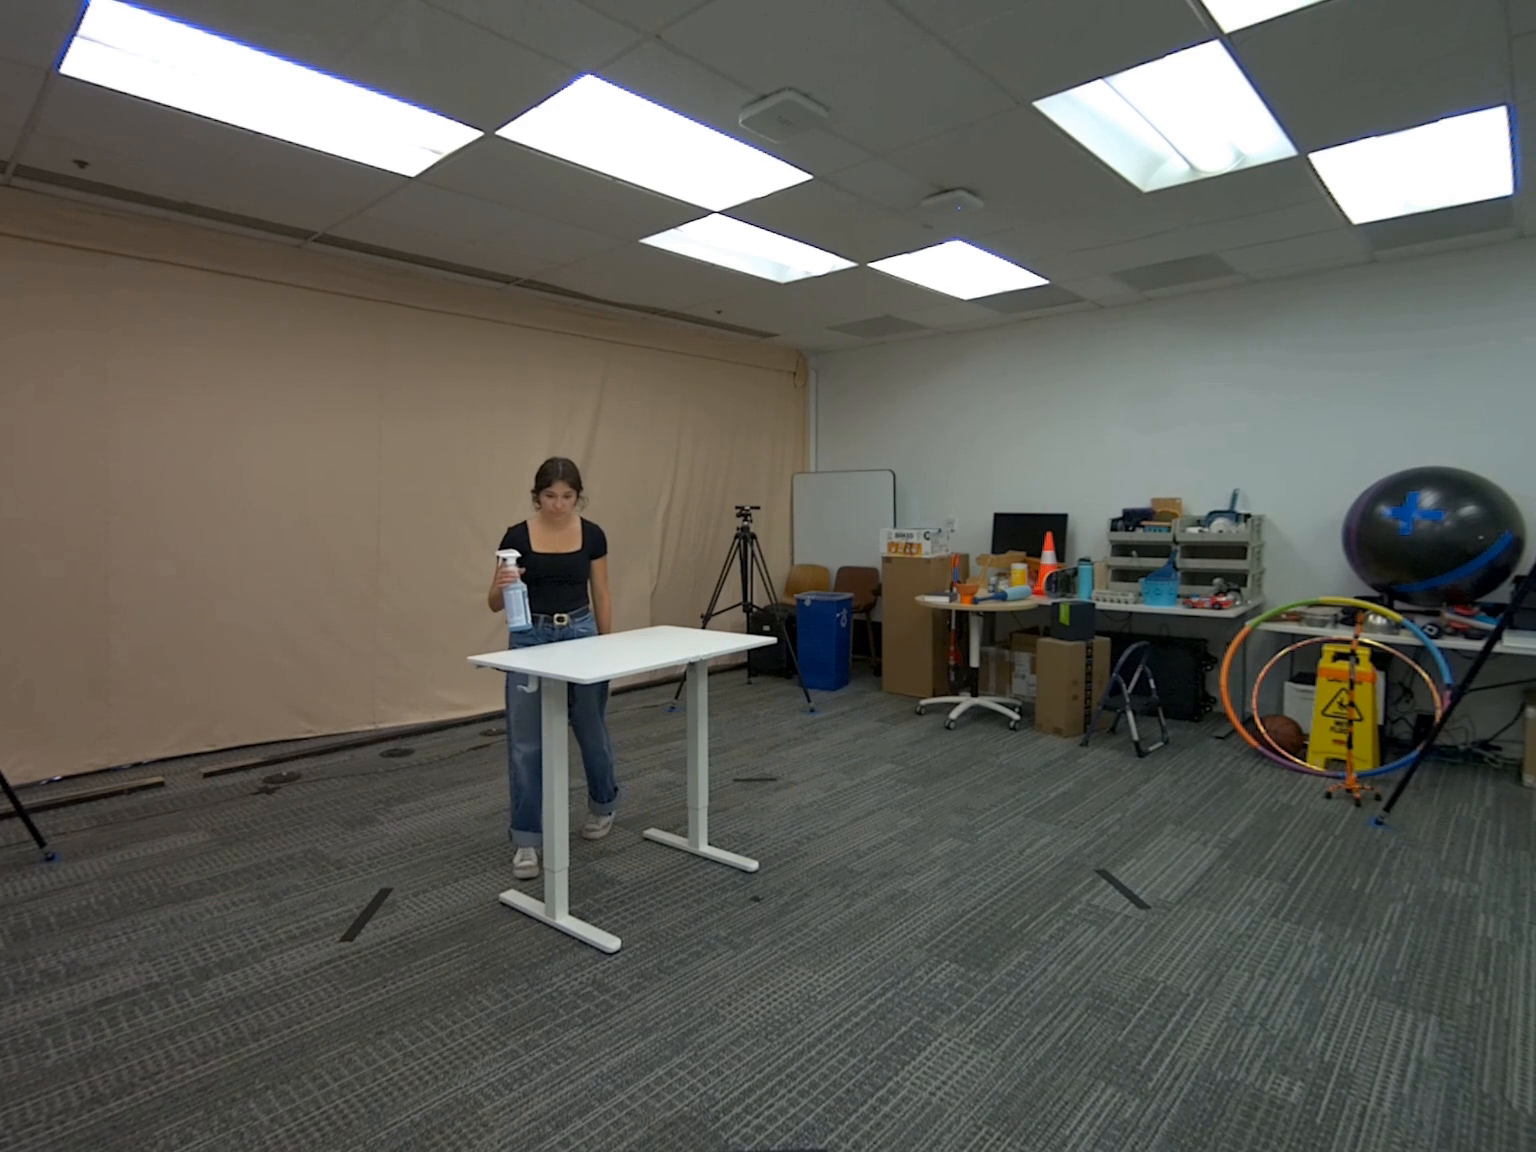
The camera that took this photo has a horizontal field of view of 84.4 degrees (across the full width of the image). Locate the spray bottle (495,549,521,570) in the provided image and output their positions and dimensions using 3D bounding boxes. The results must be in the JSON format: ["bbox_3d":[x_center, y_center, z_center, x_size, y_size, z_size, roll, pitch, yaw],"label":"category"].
[{"bbox_3d":[-0.914,0.047,3.054,0.092,0.298,0.084,-11,-4,33],"label":"spray bottle"}]
